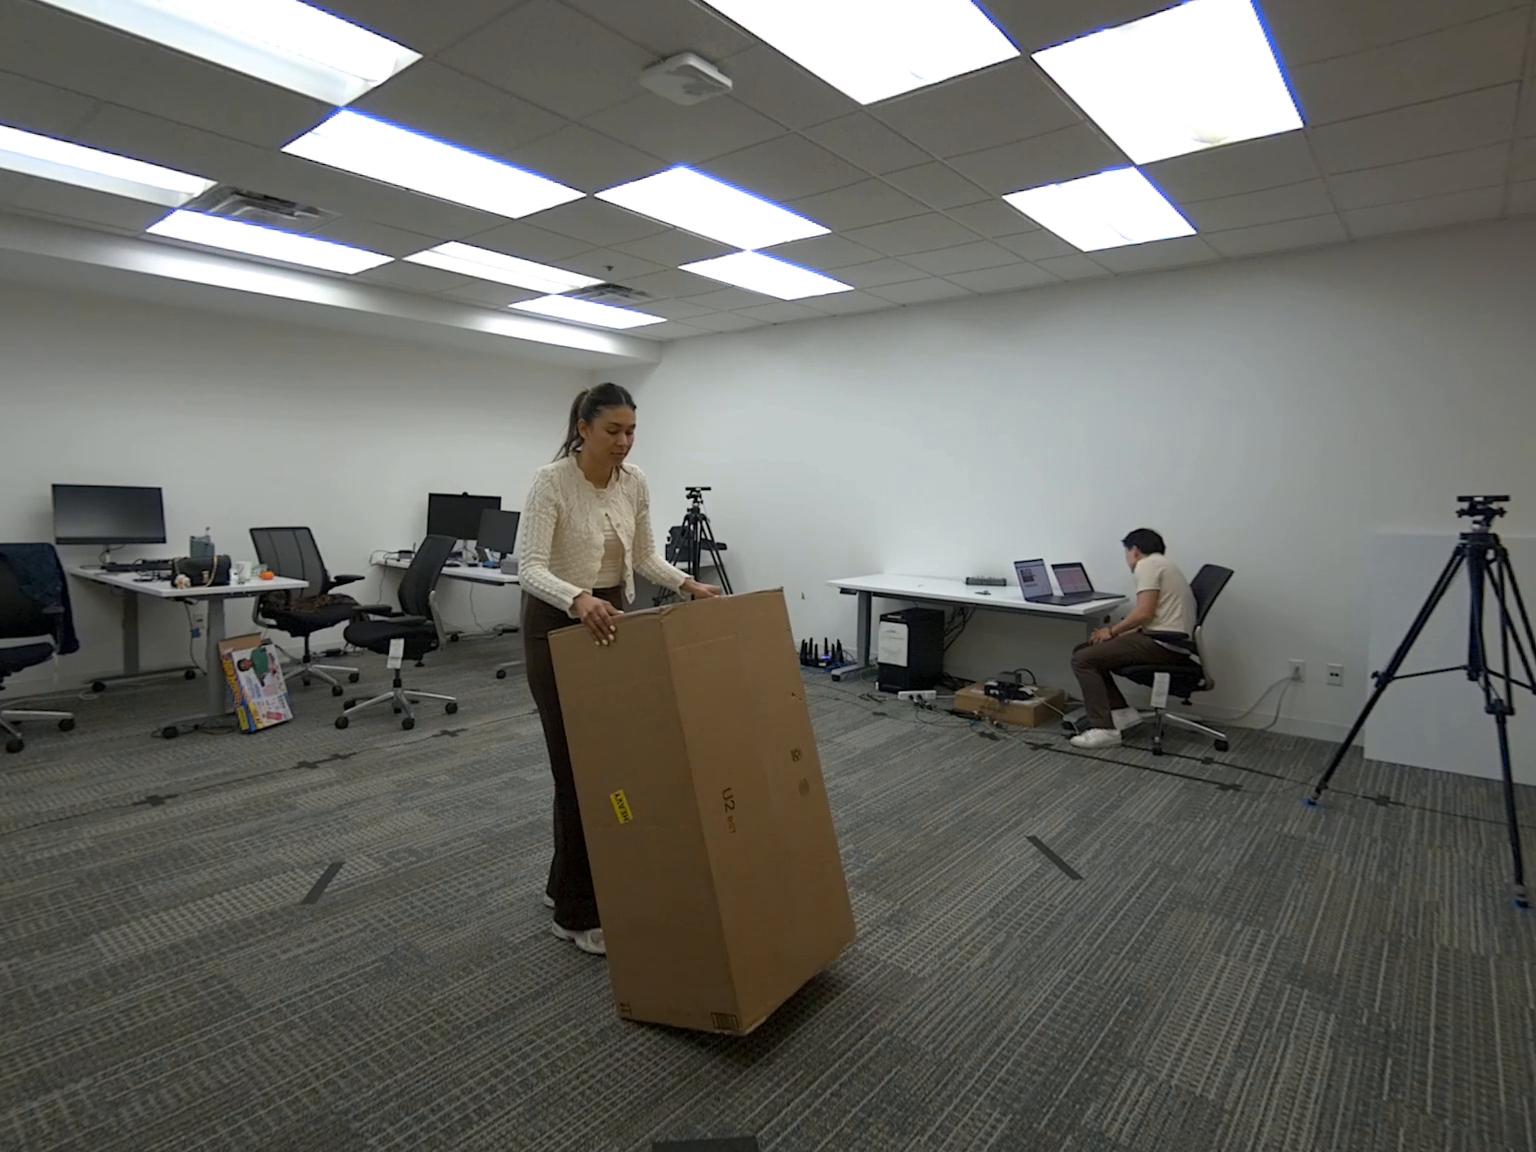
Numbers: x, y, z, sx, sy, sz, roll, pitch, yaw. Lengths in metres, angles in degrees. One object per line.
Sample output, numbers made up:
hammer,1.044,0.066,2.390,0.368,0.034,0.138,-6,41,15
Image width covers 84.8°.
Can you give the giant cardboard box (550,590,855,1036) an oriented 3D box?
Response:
giant cardboard box,-0.180,0.593,2.380,0.435,1.033,0.561,-16,-6,35
